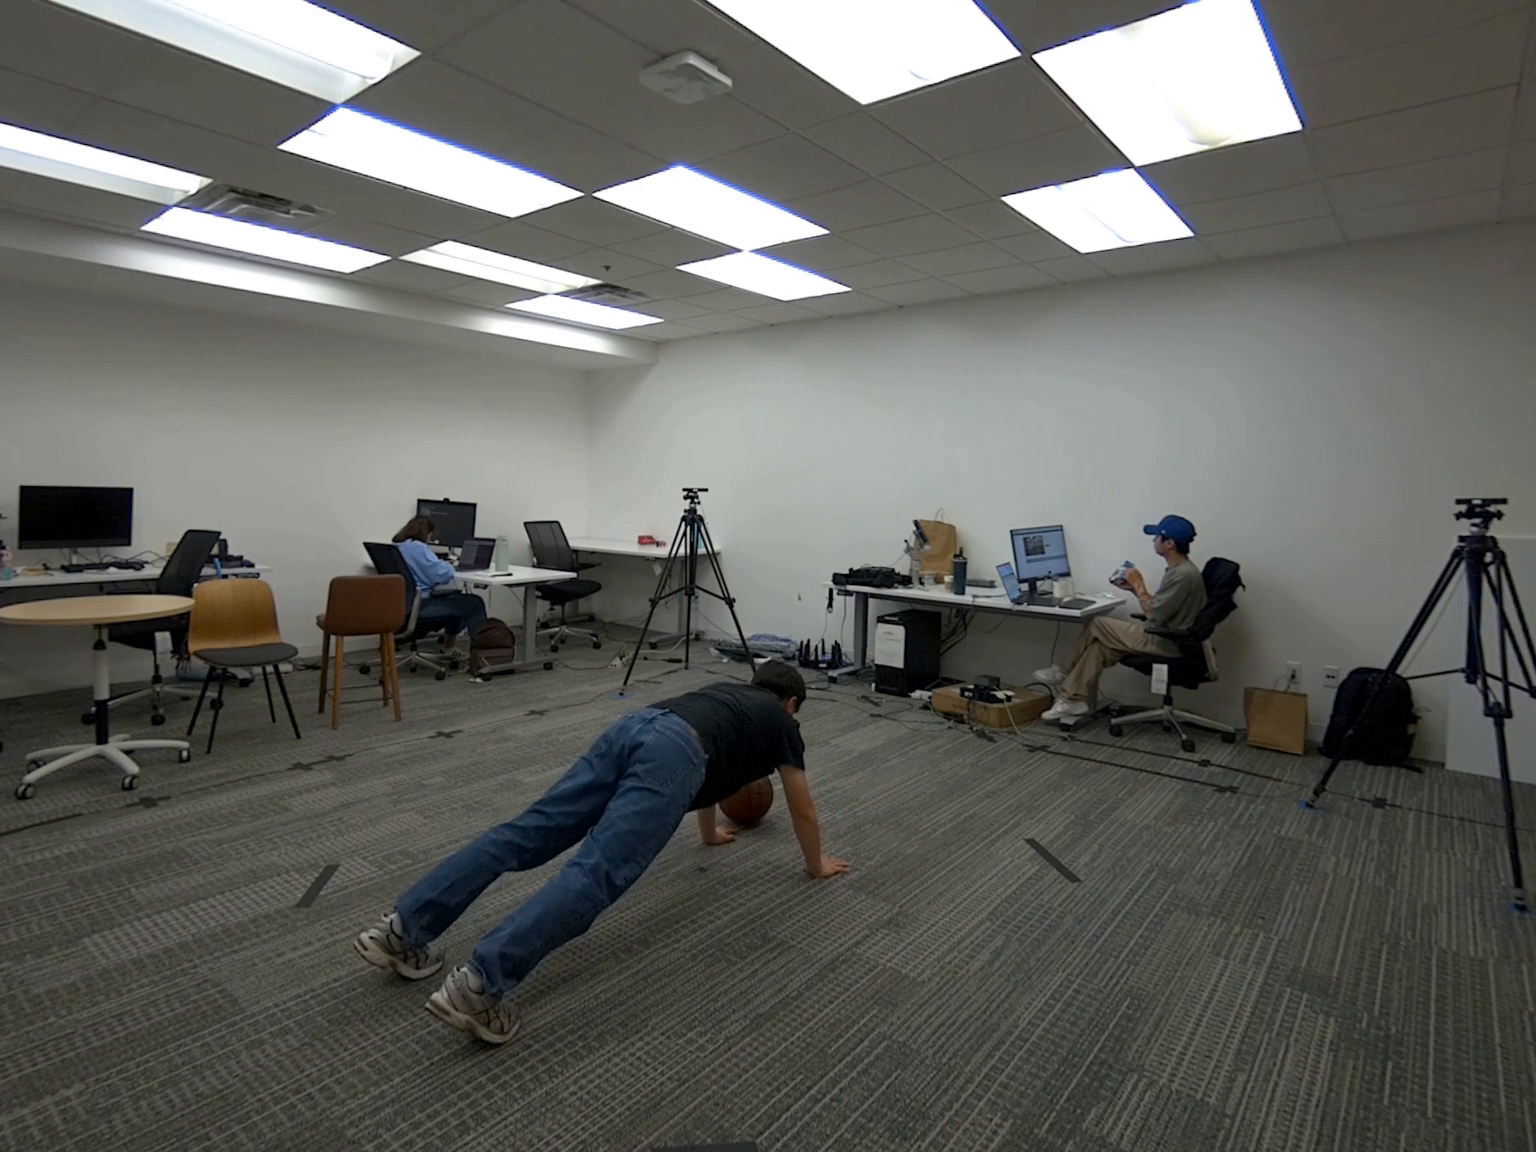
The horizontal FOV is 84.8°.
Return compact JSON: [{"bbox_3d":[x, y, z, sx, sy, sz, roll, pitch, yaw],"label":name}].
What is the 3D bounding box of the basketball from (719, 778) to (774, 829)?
[{"bbox_3d":[-0.101,0.905,3.564,0.235,0.235,0.237,1,4,-2],"label":"basketball"}]
